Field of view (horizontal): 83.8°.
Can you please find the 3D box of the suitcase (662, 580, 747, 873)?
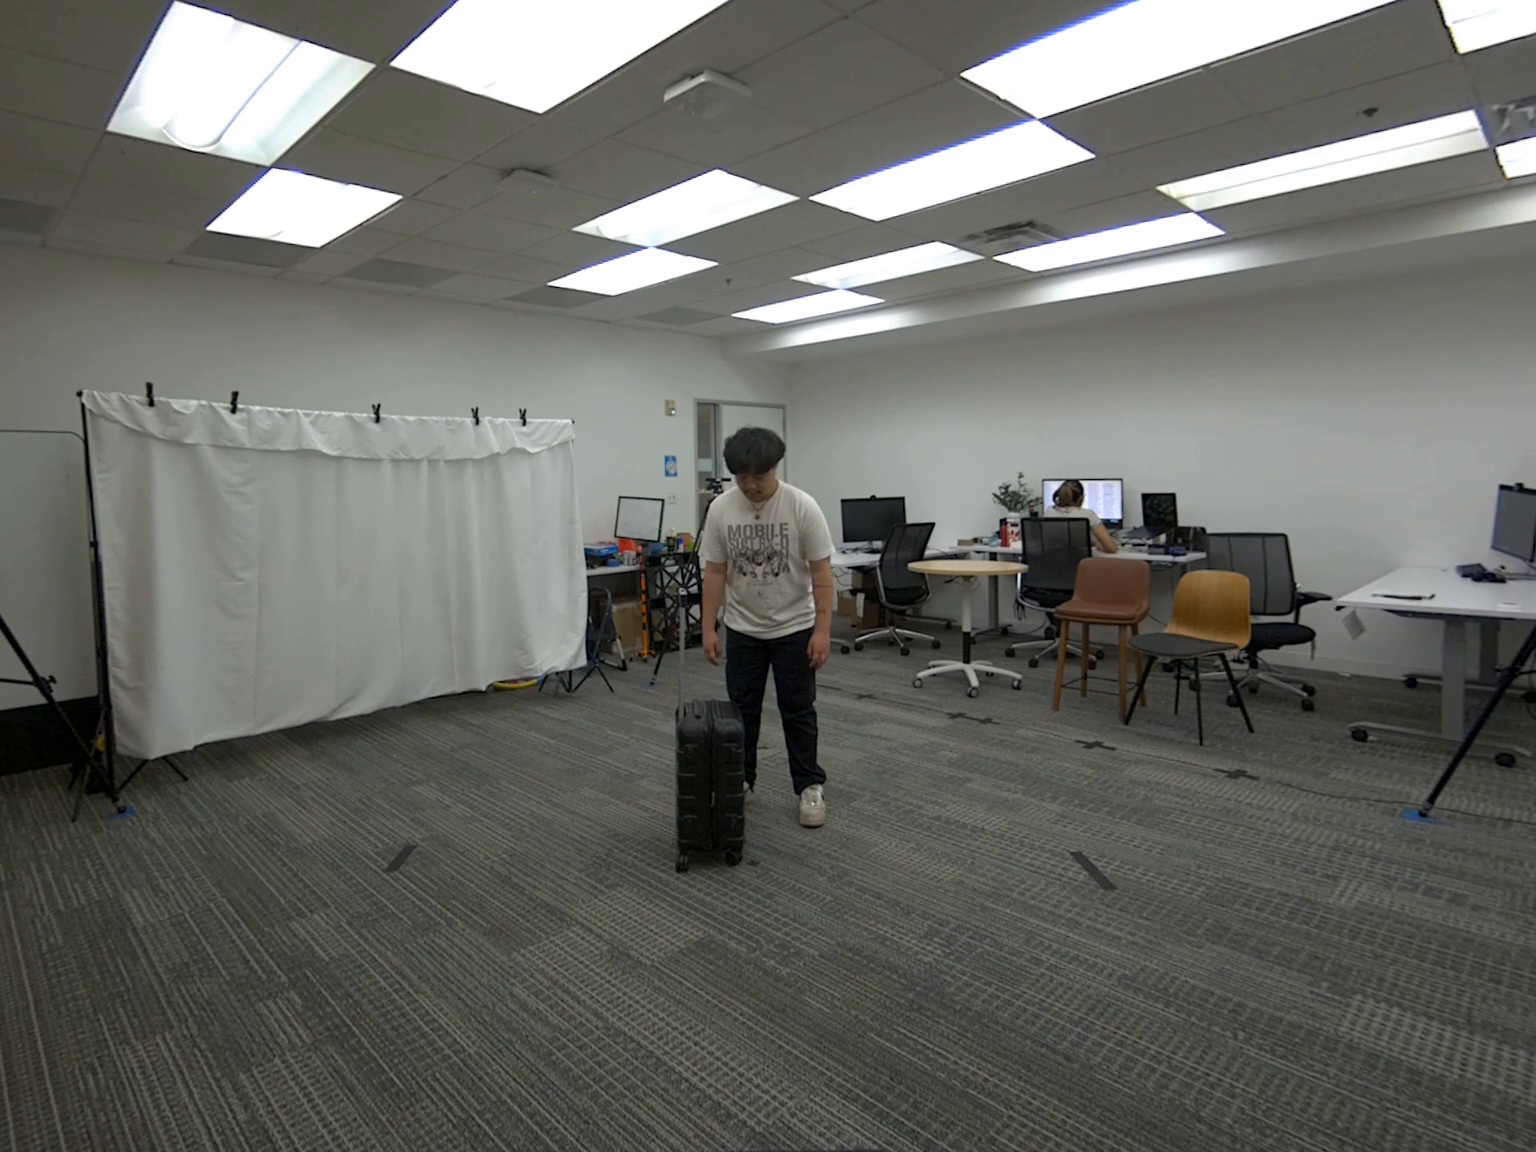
[{"bbox_3d":[-0.227,0.559,3.201,0.256,0.976,0.386,2,4,-4],"label":"suitcase"}]
